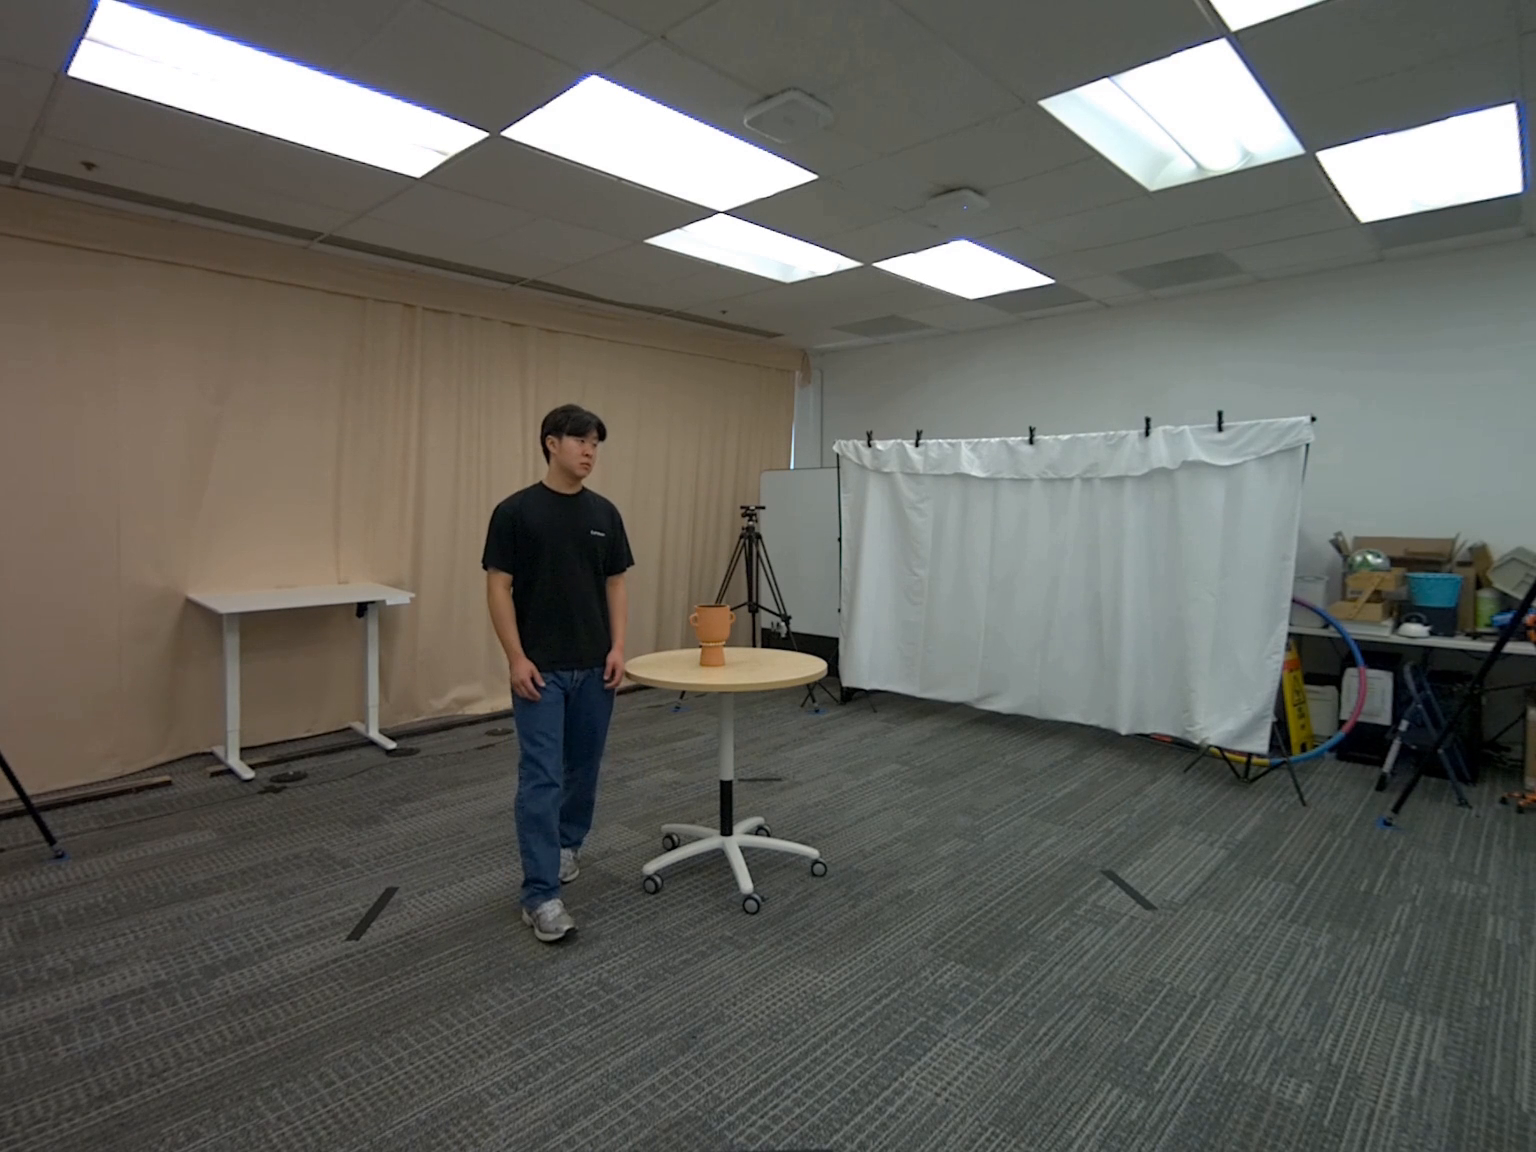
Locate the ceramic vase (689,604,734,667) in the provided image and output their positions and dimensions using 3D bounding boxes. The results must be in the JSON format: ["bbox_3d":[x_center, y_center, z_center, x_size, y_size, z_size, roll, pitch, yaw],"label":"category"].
[{"bbox_3d":[-0.210,0.226,3.157,0.160,0.219,0.134,1,4,8],"label":"ceramic vase"}]
